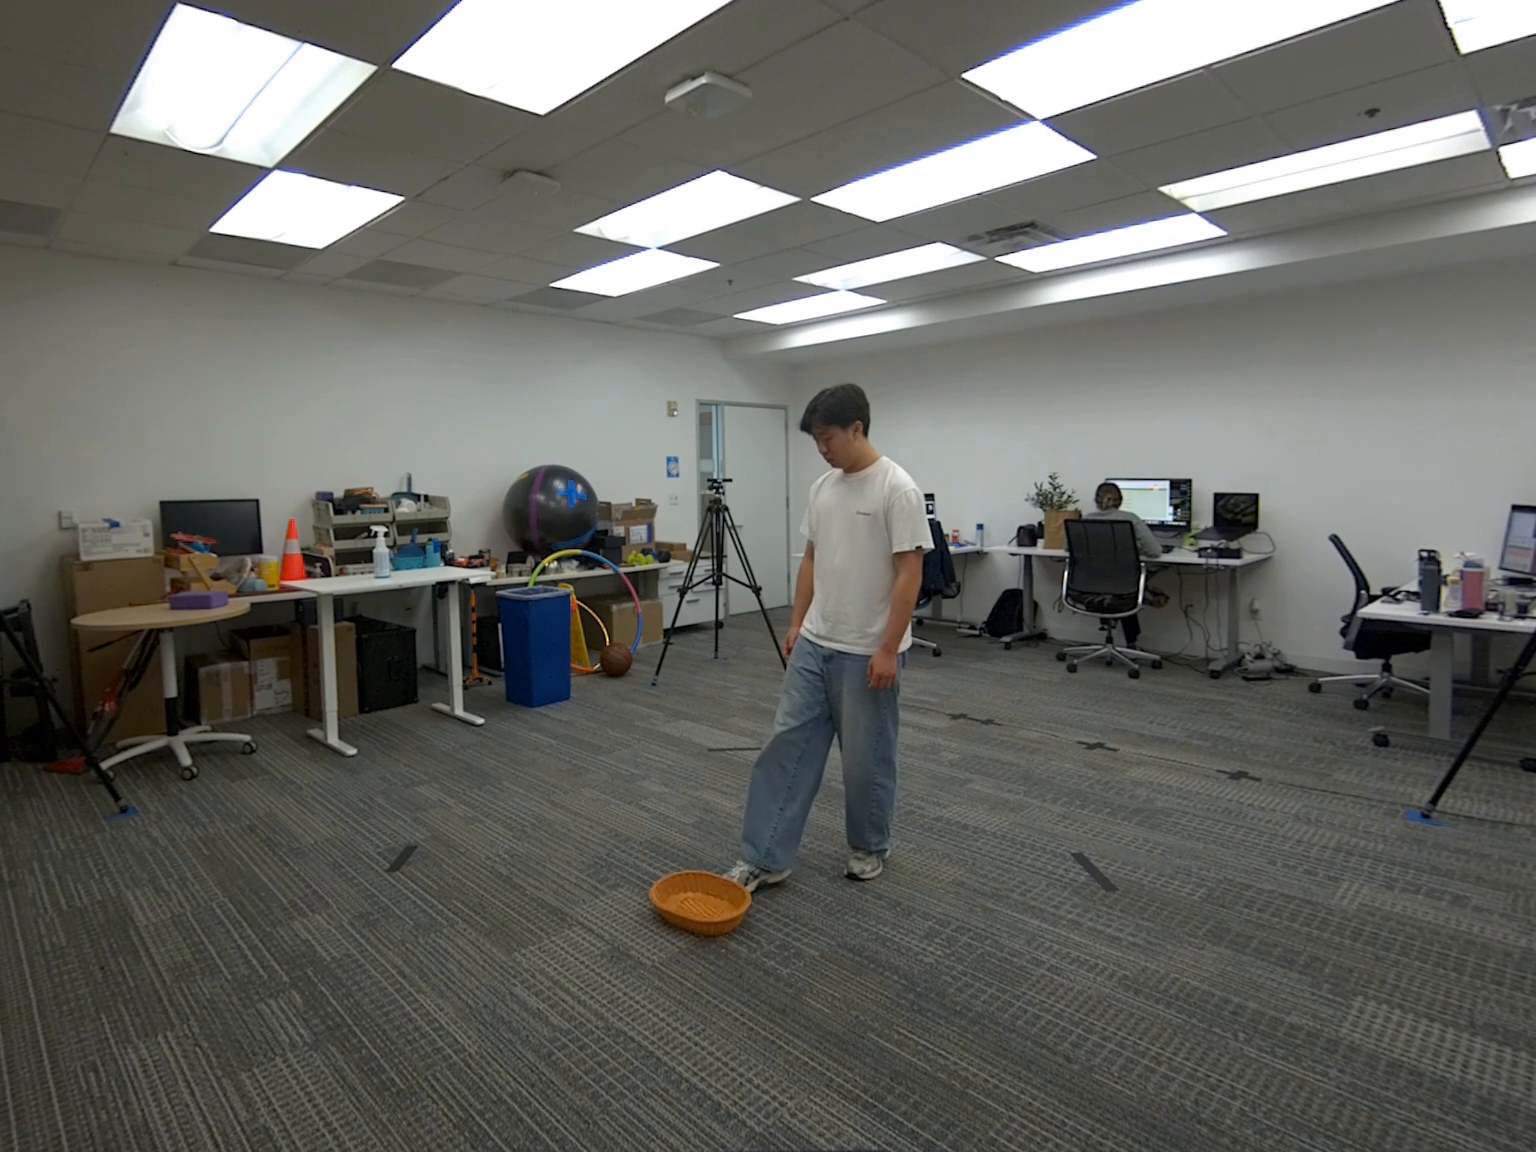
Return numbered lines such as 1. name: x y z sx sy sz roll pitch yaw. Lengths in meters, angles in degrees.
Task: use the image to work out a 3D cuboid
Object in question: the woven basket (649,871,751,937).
1. woven basket: -0.209 1.048 2.742 0.360 0.073 0.247 4 12 35
